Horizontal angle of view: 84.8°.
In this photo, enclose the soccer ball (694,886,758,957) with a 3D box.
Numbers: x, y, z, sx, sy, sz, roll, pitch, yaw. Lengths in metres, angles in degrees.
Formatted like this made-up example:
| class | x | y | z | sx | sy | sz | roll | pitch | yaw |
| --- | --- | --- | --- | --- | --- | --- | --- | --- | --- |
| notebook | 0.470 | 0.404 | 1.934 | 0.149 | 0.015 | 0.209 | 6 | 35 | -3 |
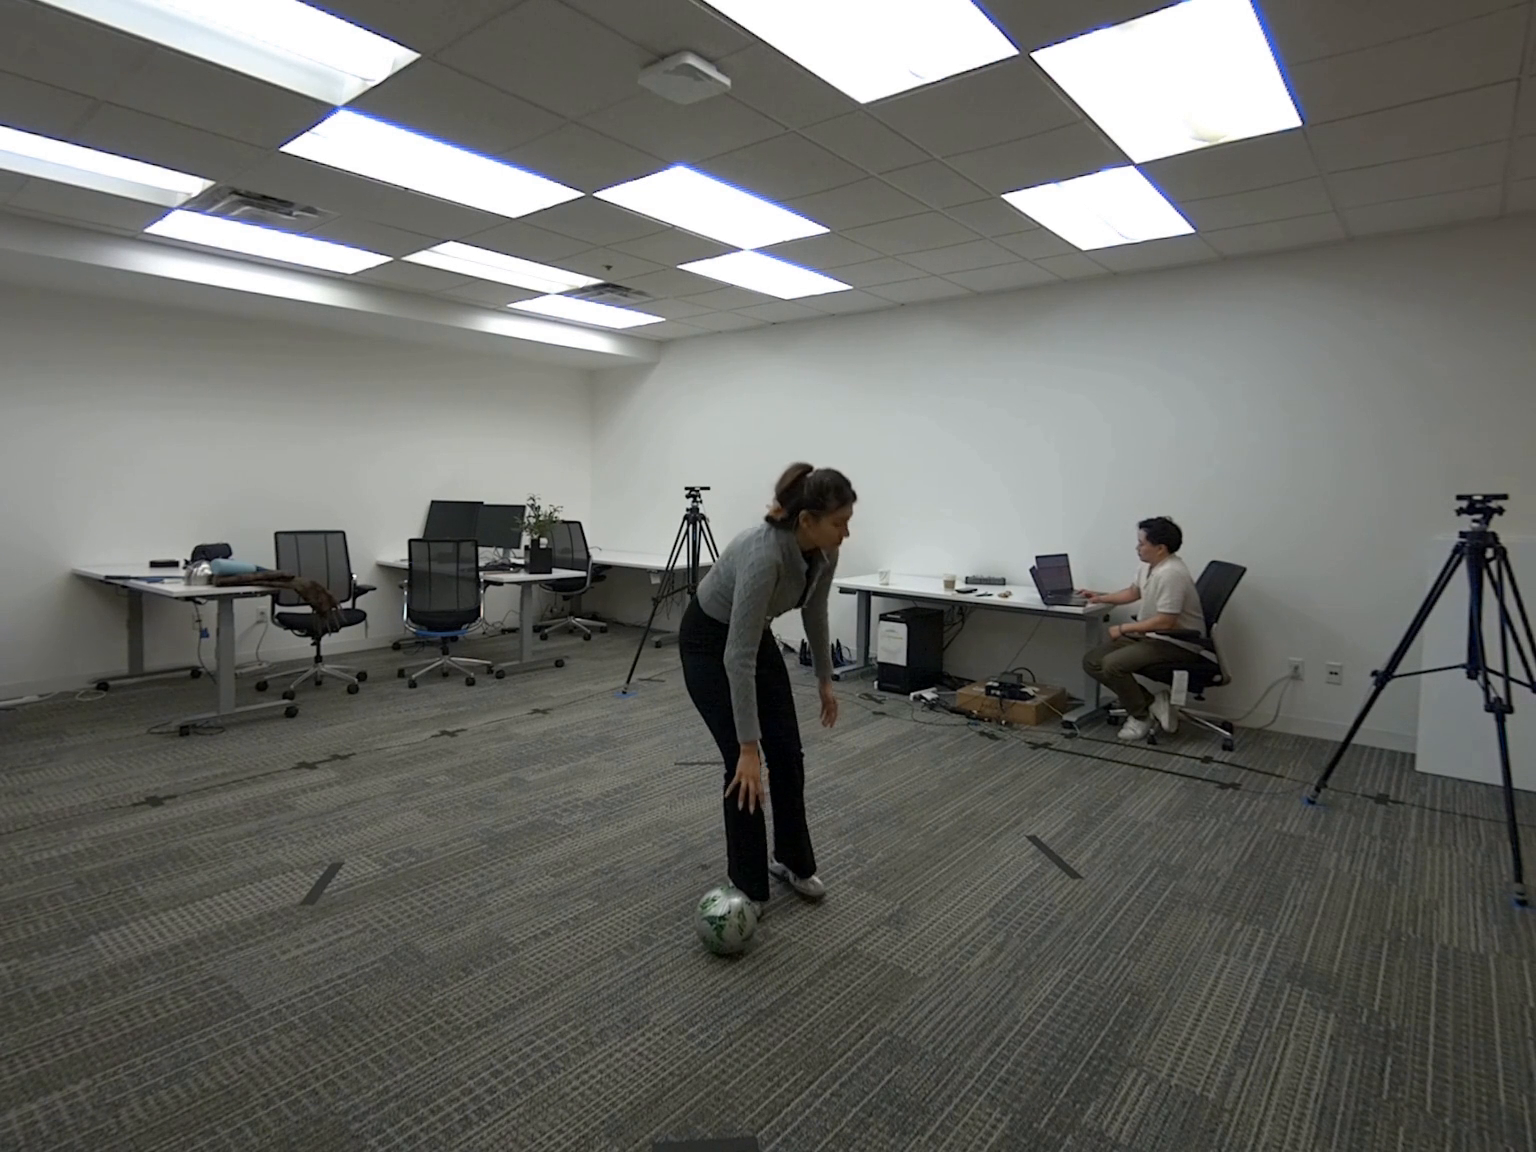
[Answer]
| class | x | y | z | sx | sy | sz | roll | pitch | yaw |
| --- | --- | --- | --- | --- | --- | --- | --- | --- | --- |
| soccer ball | -0.133 | 1.031 | 2.544 | 0.187 | 0.187 | 0.188 | 0 | 4 | -2 |
